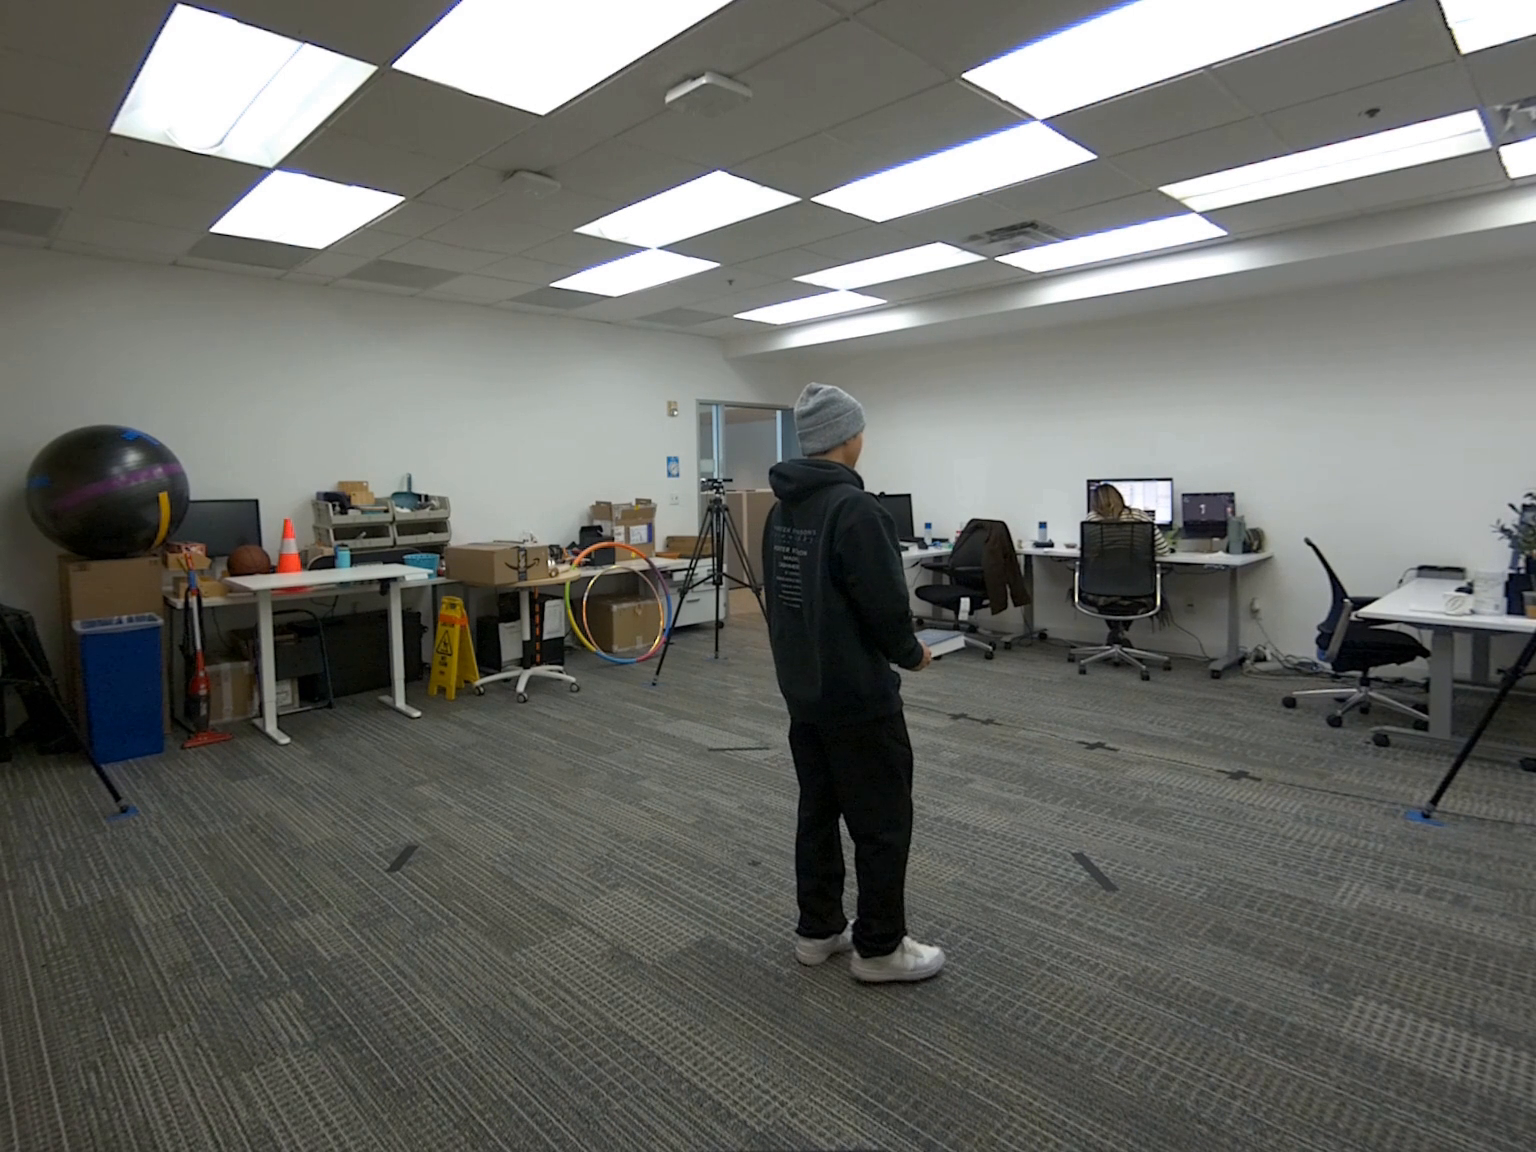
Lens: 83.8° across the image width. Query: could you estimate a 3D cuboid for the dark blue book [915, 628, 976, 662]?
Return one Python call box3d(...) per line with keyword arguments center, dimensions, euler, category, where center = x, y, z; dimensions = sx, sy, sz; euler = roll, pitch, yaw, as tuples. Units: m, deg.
box3d(center=(0.476, 0.210, 2.590), dimensions=(0.240, 0.045, 0.168), euler=(-12, 8, -32), category="dark blue book")
